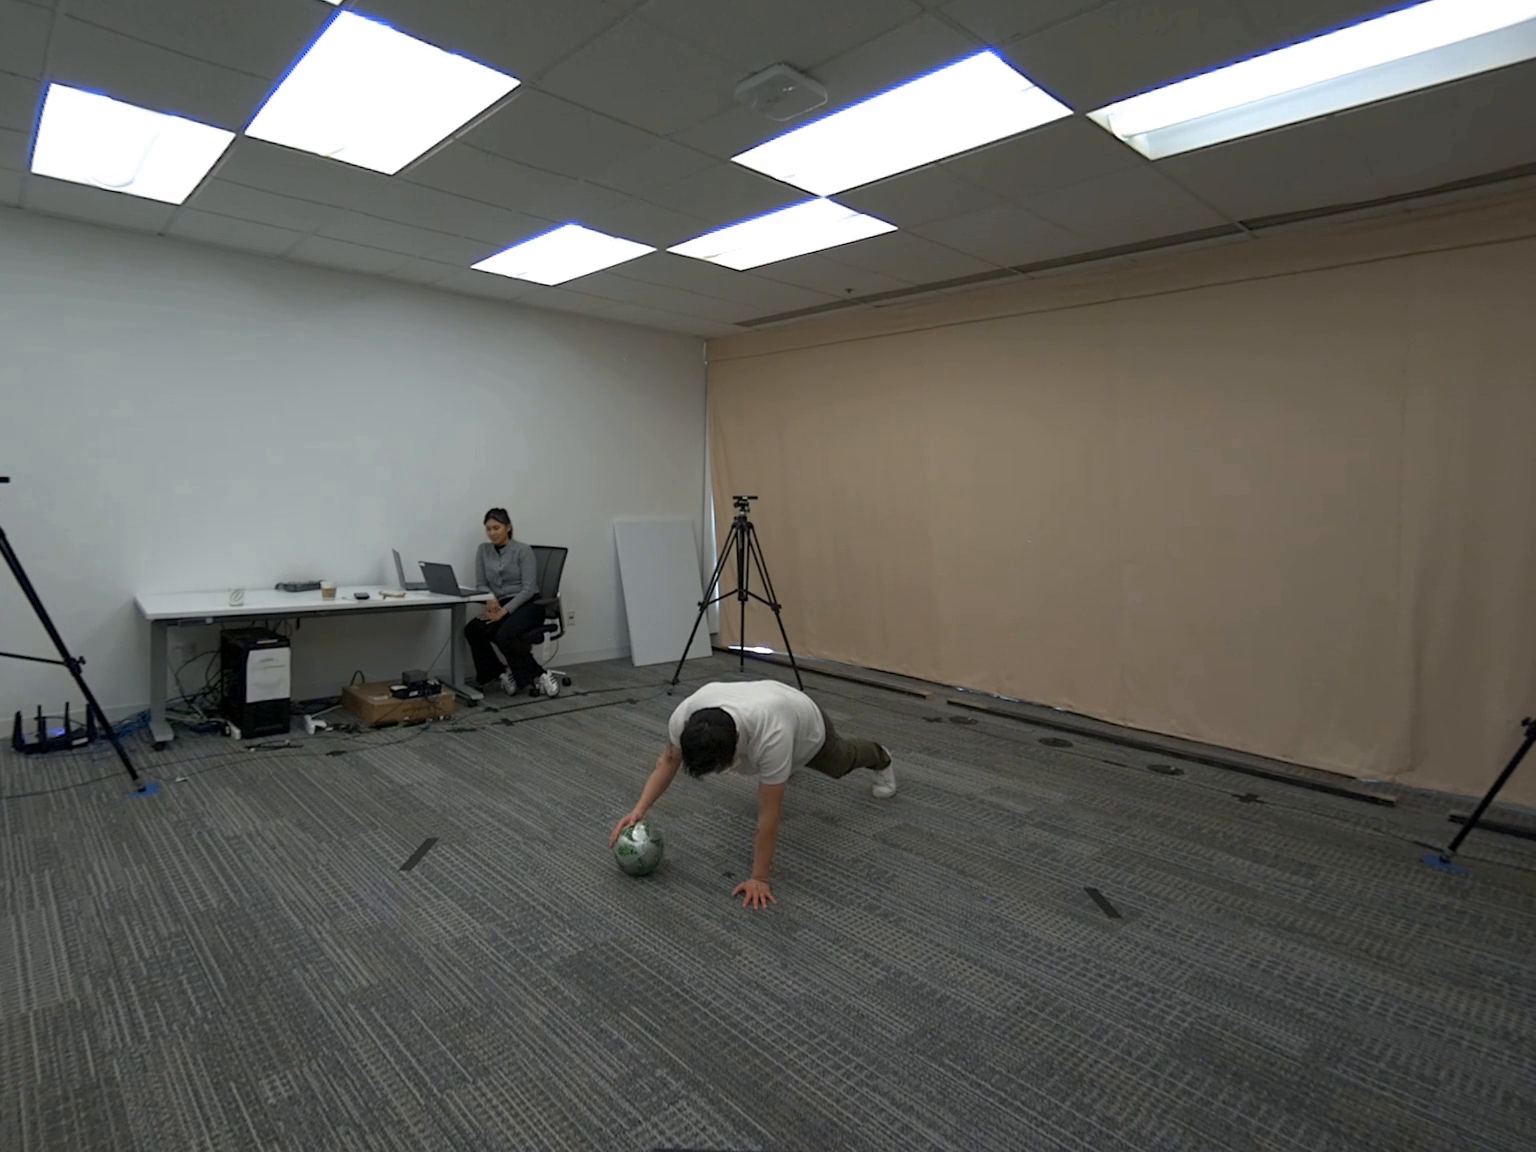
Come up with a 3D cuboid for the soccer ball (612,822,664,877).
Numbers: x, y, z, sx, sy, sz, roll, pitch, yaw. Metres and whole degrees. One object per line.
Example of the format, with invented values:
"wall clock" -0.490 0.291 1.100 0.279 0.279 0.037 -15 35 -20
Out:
"soccer ball" -0.479 1.001 3.098 0.187 0.187 0.188 1 4 -1
